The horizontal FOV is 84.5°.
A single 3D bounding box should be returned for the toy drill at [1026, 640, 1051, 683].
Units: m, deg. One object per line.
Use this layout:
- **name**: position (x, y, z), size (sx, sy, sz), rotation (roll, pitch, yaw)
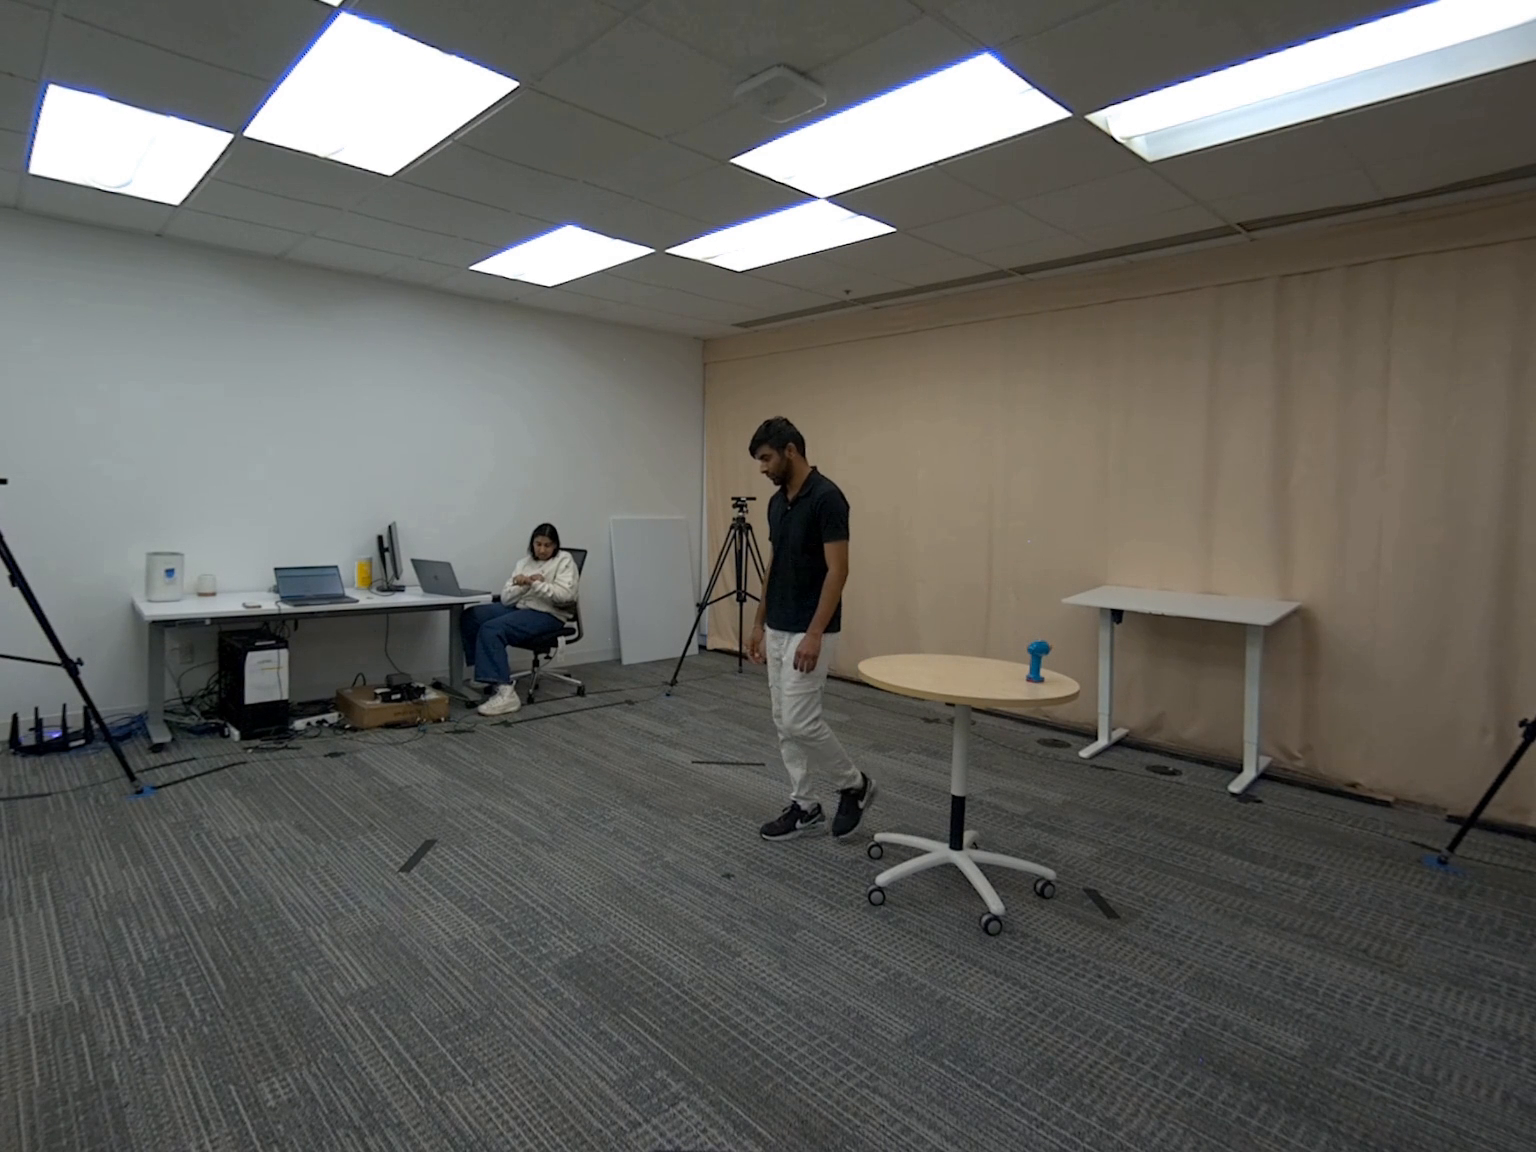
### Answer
- **toy drill**: position (0.958, 0.298, 2.986), size (0.062, 0.146, 0.166), rotation (-1, 0, 32)
